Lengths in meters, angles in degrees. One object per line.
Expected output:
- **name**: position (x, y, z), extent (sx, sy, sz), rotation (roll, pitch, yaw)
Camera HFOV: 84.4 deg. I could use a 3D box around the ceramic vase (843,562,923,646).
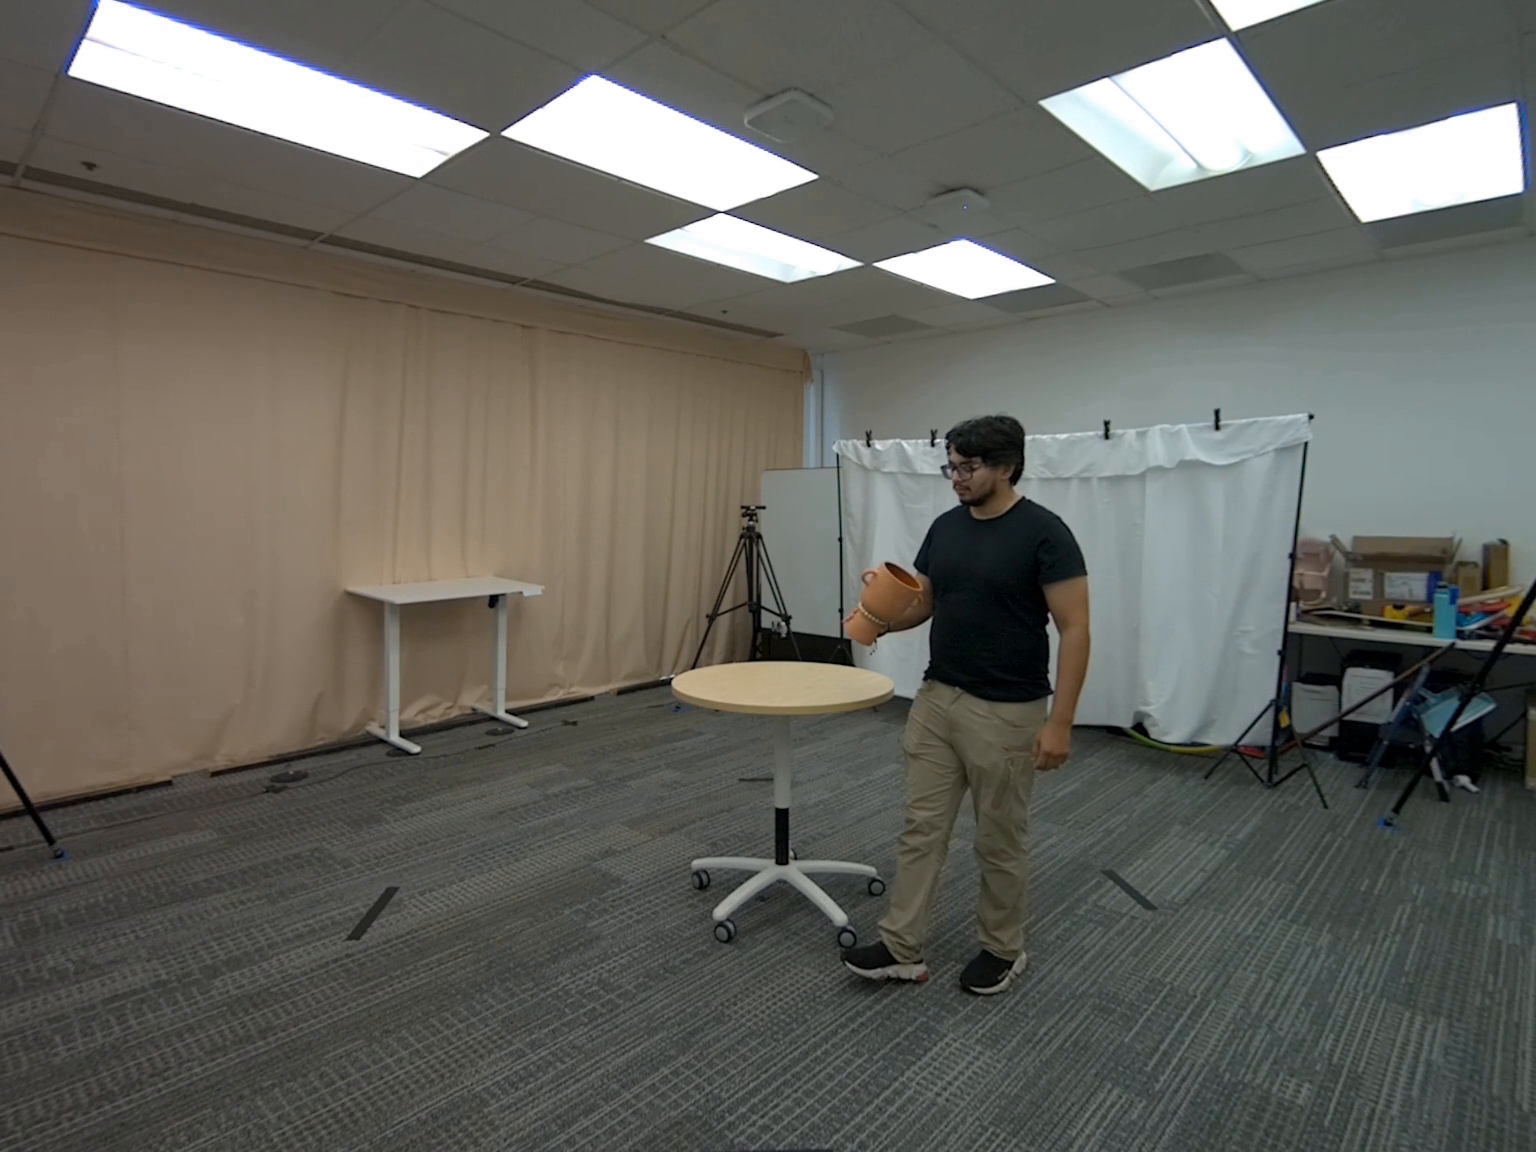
- **ceramic vase**: position (0.312, 0.086, 2.371), extent (0.163, 0.220, 0.131), rotation (40, 22, 21)
